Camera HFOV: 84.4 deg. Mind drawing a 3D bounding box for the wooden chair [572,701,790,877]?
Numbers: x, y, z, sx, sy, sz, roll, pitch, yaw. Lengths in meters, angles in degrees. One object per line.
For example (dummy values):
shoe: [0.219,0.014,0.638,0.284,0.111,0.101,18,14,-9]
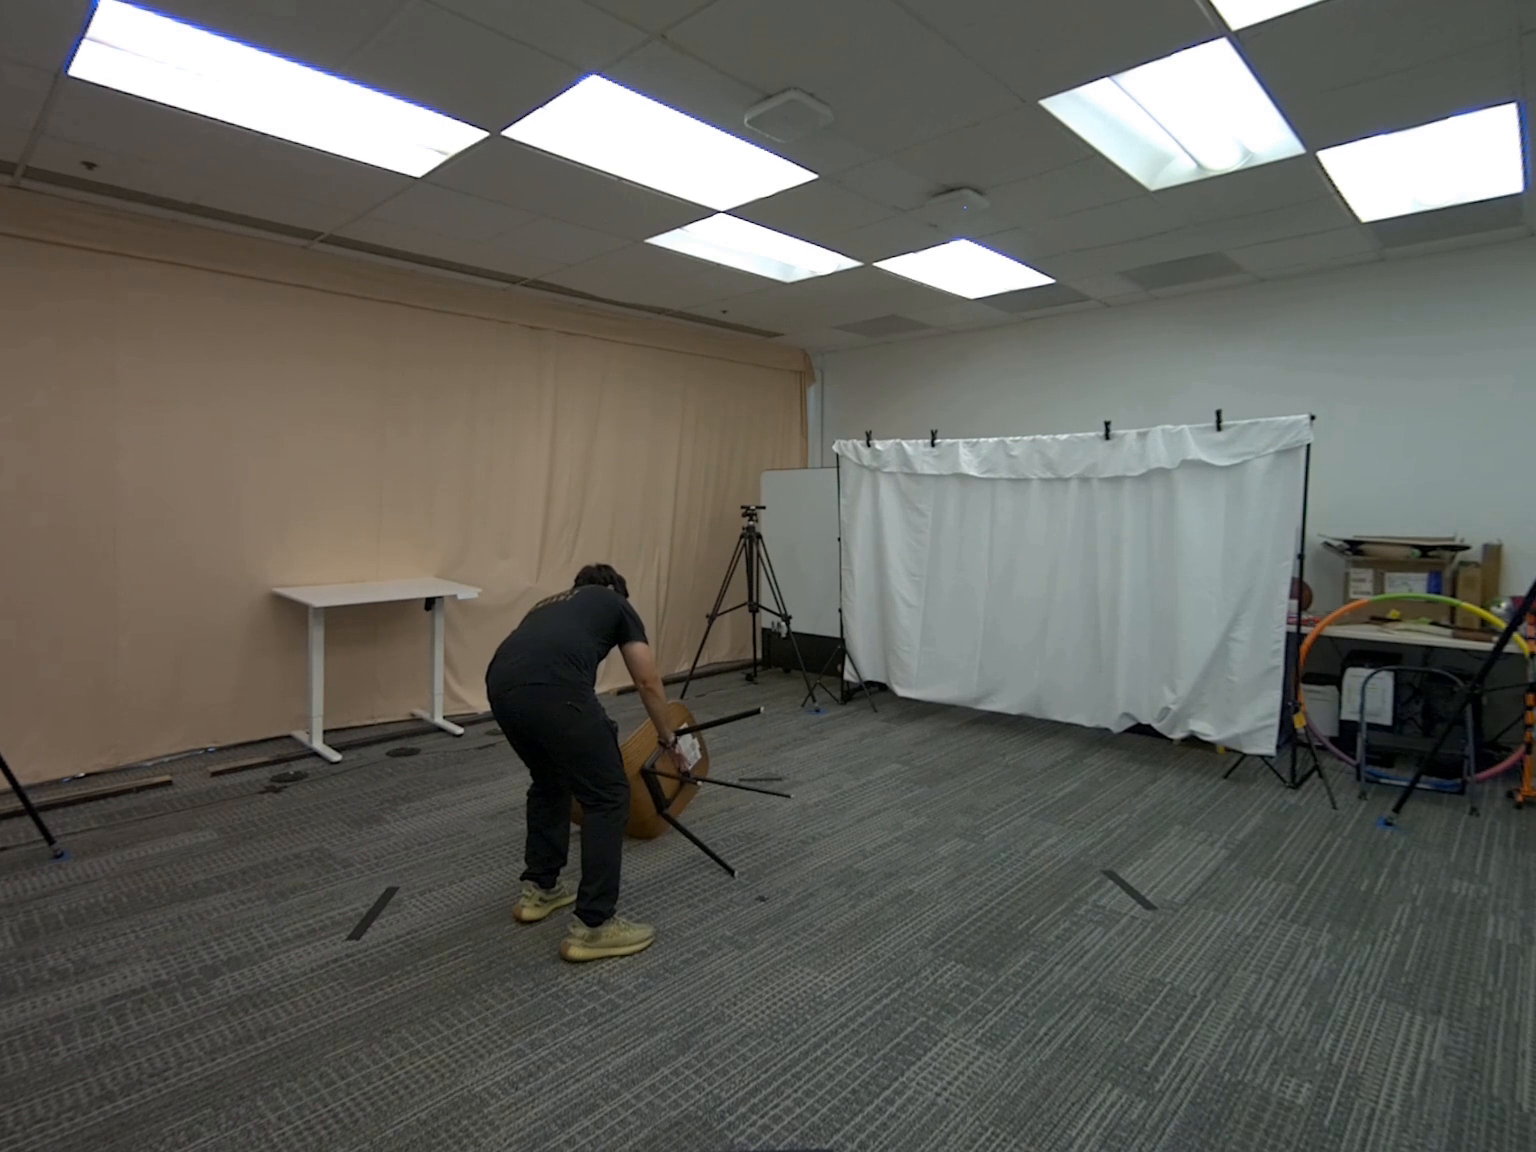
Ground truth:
wooden chair: [-0.418,0.823,3.499,0.903,0.469,0.518,-3,27,34]
